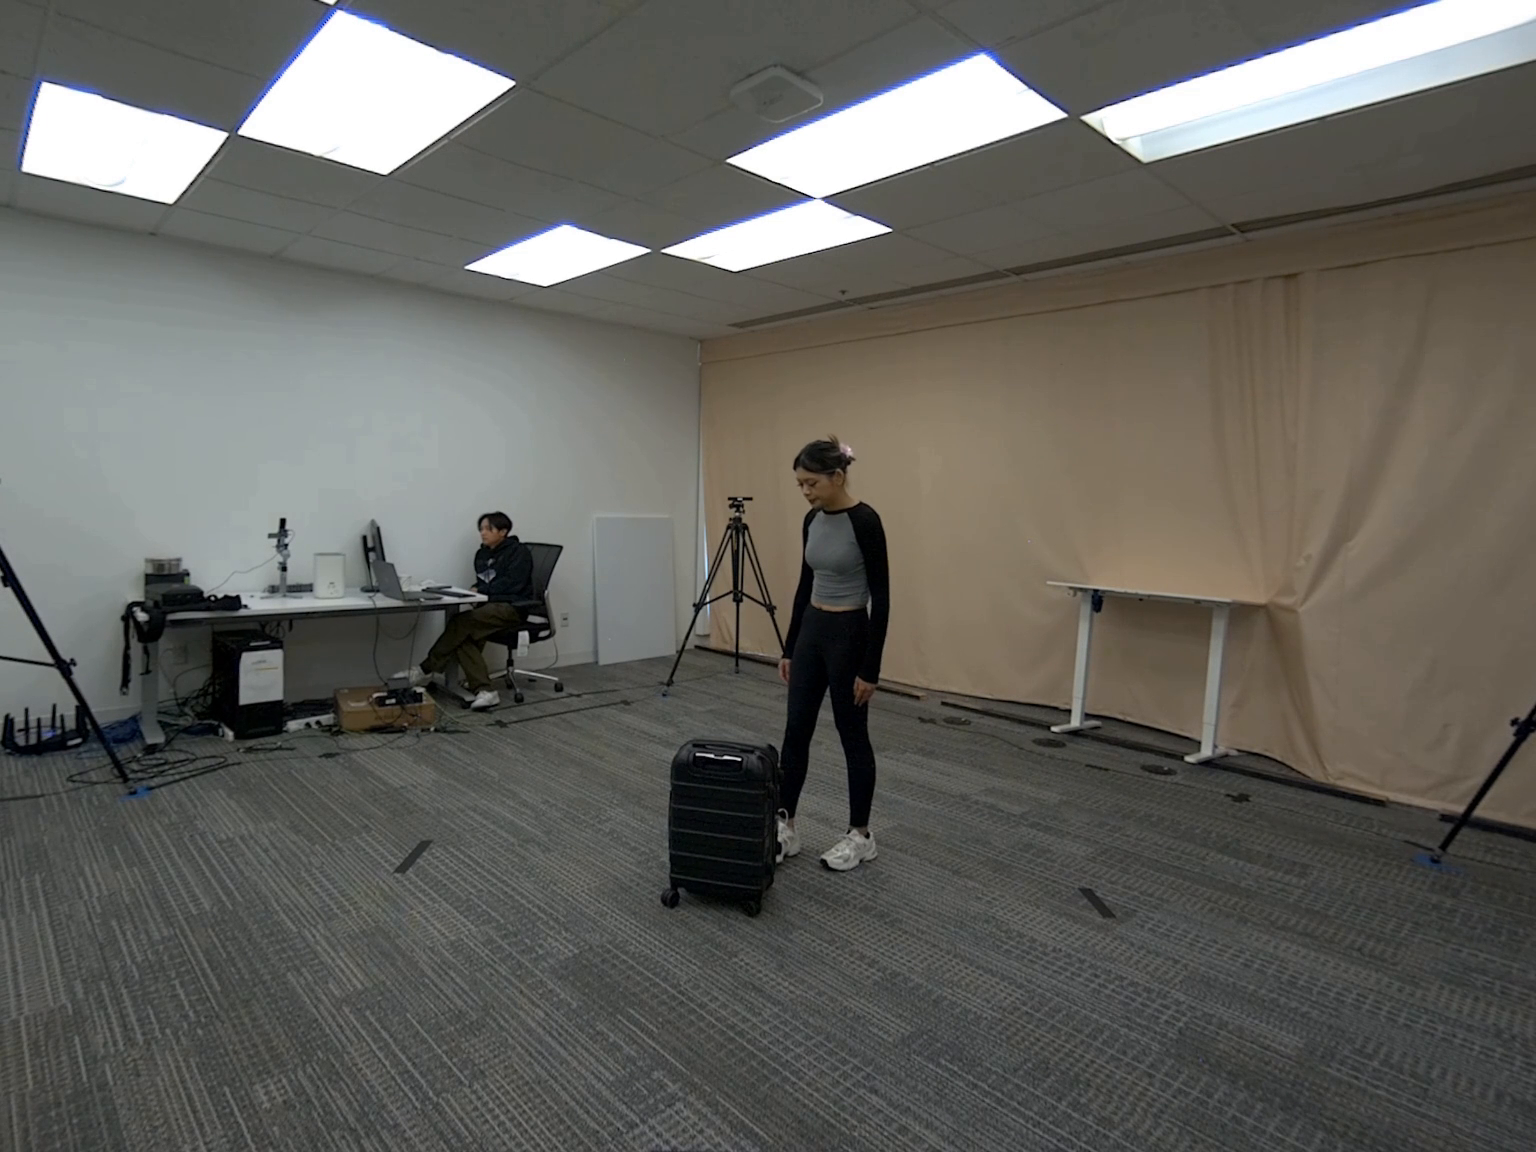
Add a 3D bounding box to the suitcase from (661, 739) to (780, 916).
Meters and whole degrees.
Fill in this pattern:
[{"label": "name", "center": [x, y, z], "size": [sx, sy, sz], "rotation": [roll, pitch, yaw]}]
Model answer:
[{"label": "suitcase", "center": [-0.160, 0.845, 2.935], "size": [0.380, 0.548, 0.245], "rotation": [2, 3, 16]}]
